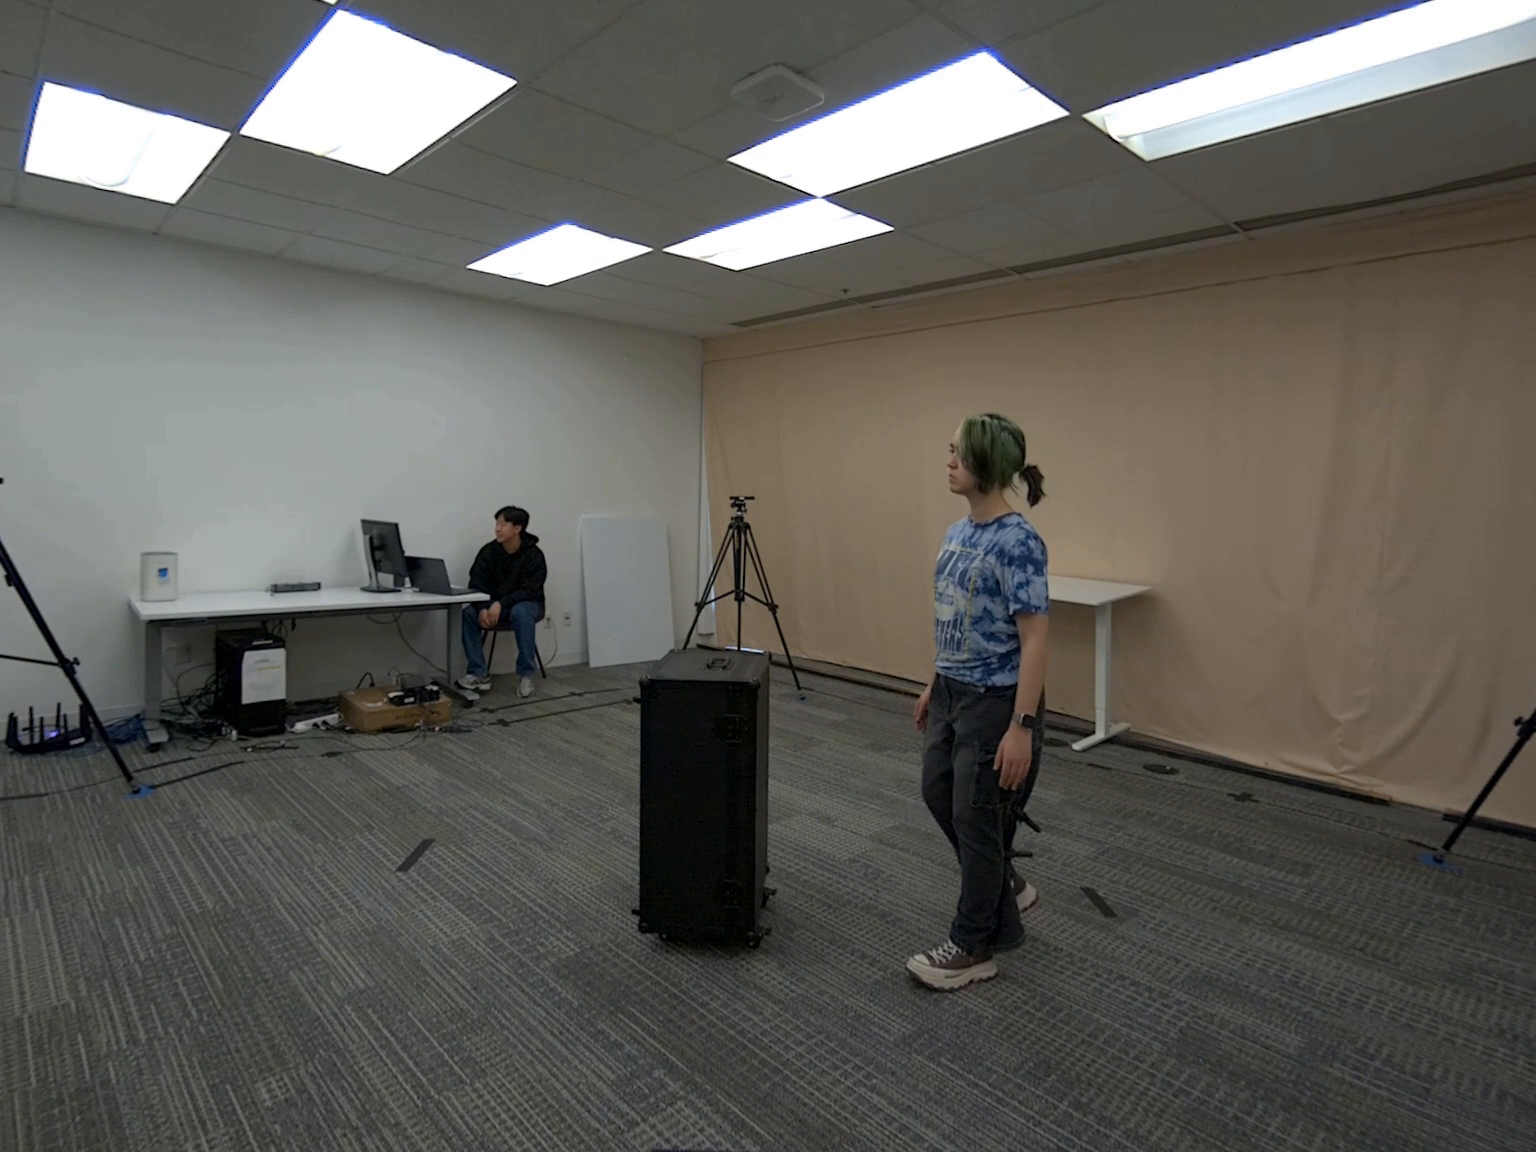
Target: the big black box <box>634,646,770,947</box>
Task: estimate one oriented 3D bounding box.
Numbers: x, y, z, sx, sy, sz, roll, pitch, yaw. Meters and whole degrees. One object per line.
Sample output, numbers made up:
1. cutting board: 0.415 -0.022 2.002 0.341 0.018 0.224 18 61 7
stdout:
1. big black box: -0.202 0.714 2.737 0.398 0.860 0.520 0 3 5
